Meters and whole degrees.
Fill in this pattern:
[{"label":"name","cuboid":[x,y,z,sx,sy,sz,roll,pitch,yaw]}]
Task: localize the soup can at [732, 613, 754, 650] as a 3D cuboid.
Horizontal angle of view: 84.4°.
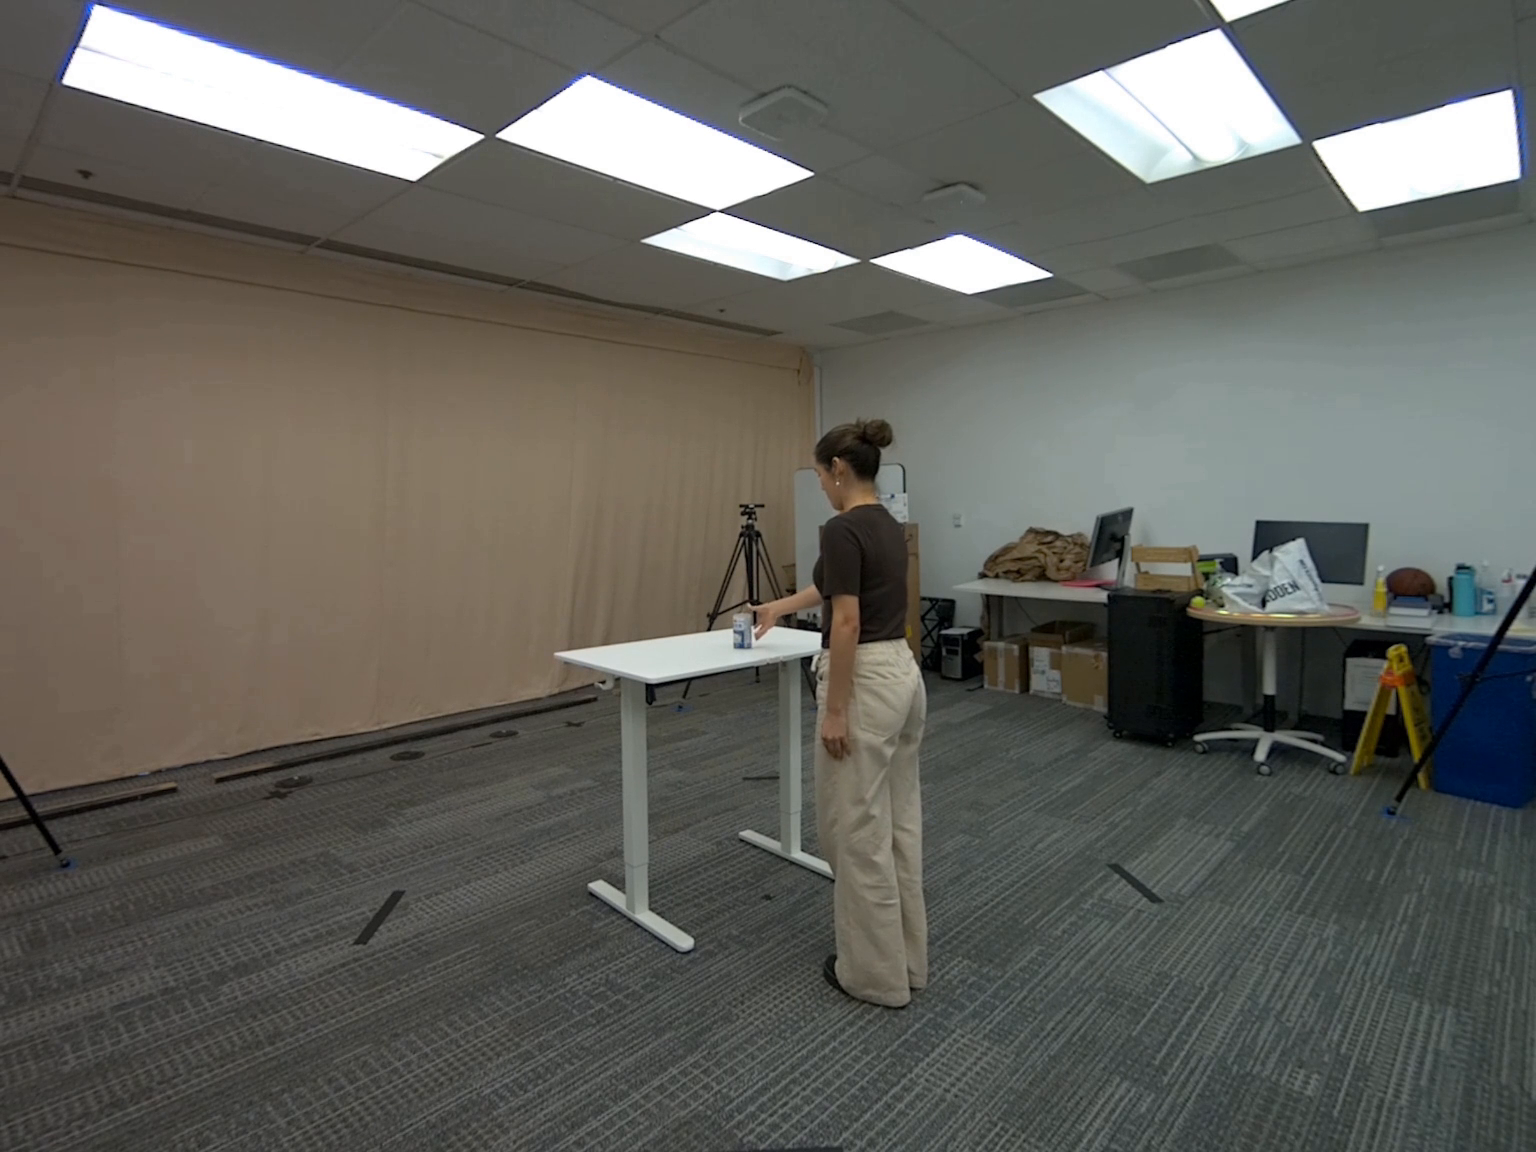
[{"label":"soup can","cuboid":[-0.085,0.197,2.996,0.067,0.121,0.067,-3,5,-2]}]
